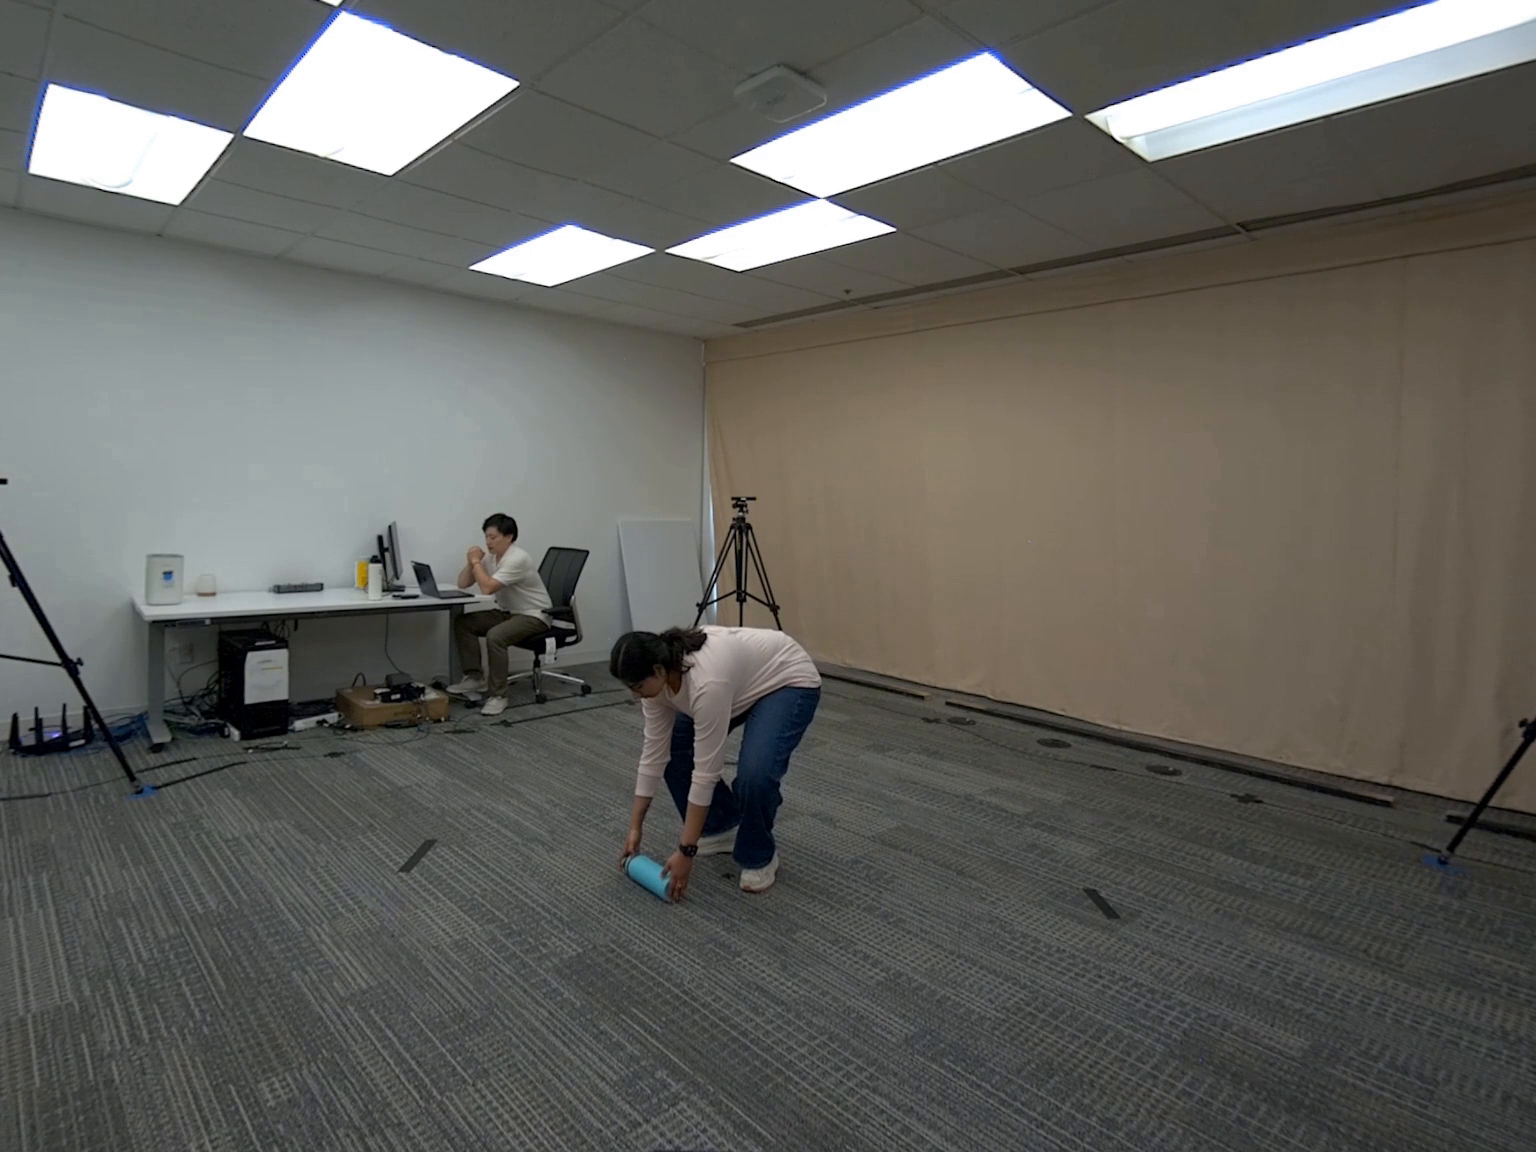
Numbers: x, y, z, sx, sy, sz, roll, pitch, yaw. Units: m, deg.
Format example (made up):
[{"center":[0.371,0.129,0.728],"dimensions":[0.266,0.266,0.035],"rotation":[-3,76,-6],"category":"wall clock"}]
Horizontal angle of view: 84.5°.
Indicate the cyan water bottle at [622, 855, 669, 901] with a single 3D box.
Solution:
[{"center":[-0.417,1.054,3.012],"dimensions":[0.090,0.092,0.290],"rotation":[-3,2,-44],"category":"cyan water bottle"}]
